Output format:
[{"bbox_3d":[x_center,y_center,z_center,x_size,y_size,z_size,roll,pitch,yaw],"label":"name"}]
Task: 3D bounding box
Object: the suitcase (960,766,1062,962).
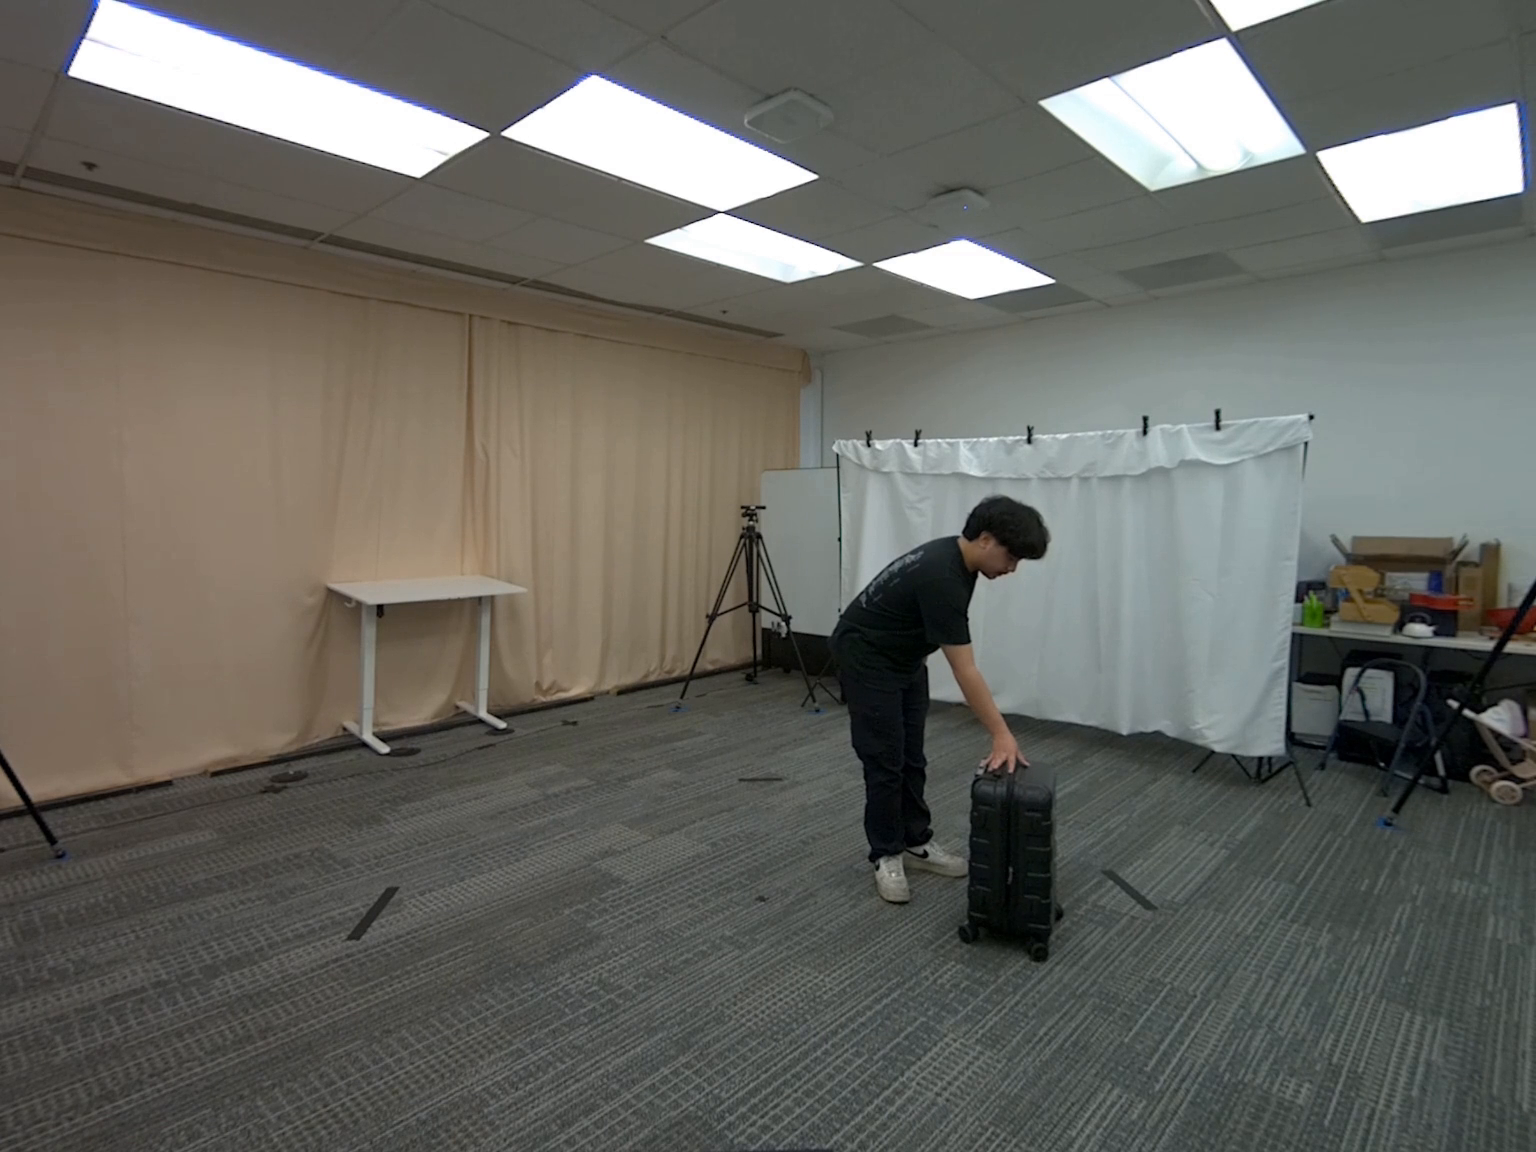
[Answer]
[{"bbox_3d":[0.814,0.890,2.745,0.254,0.548,0.367,2,3,22],"label":"suitcase"}]
